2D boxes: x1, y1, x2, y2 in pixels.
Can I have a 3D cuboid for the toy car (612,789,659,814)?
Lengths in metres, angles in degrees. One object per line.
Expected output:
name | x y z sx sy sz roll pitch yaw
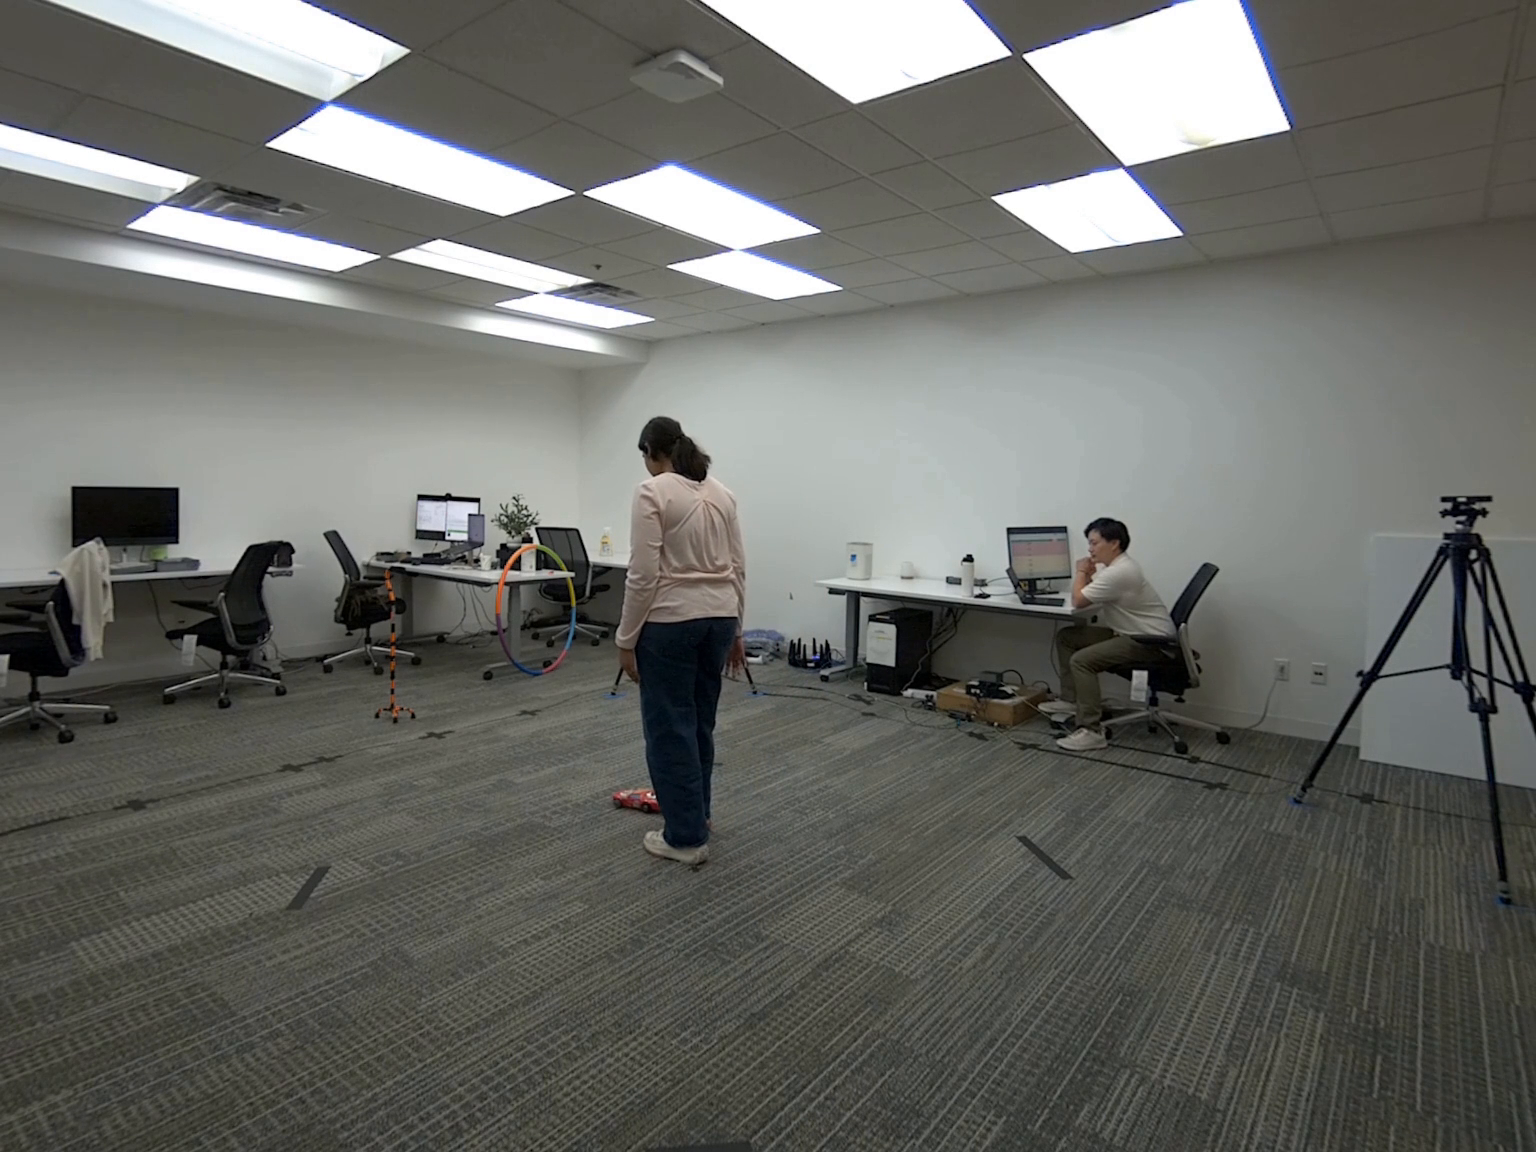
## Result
toy car | -0.564 0.974 3.705 0.260 0.083 0.127 -8 0 23
